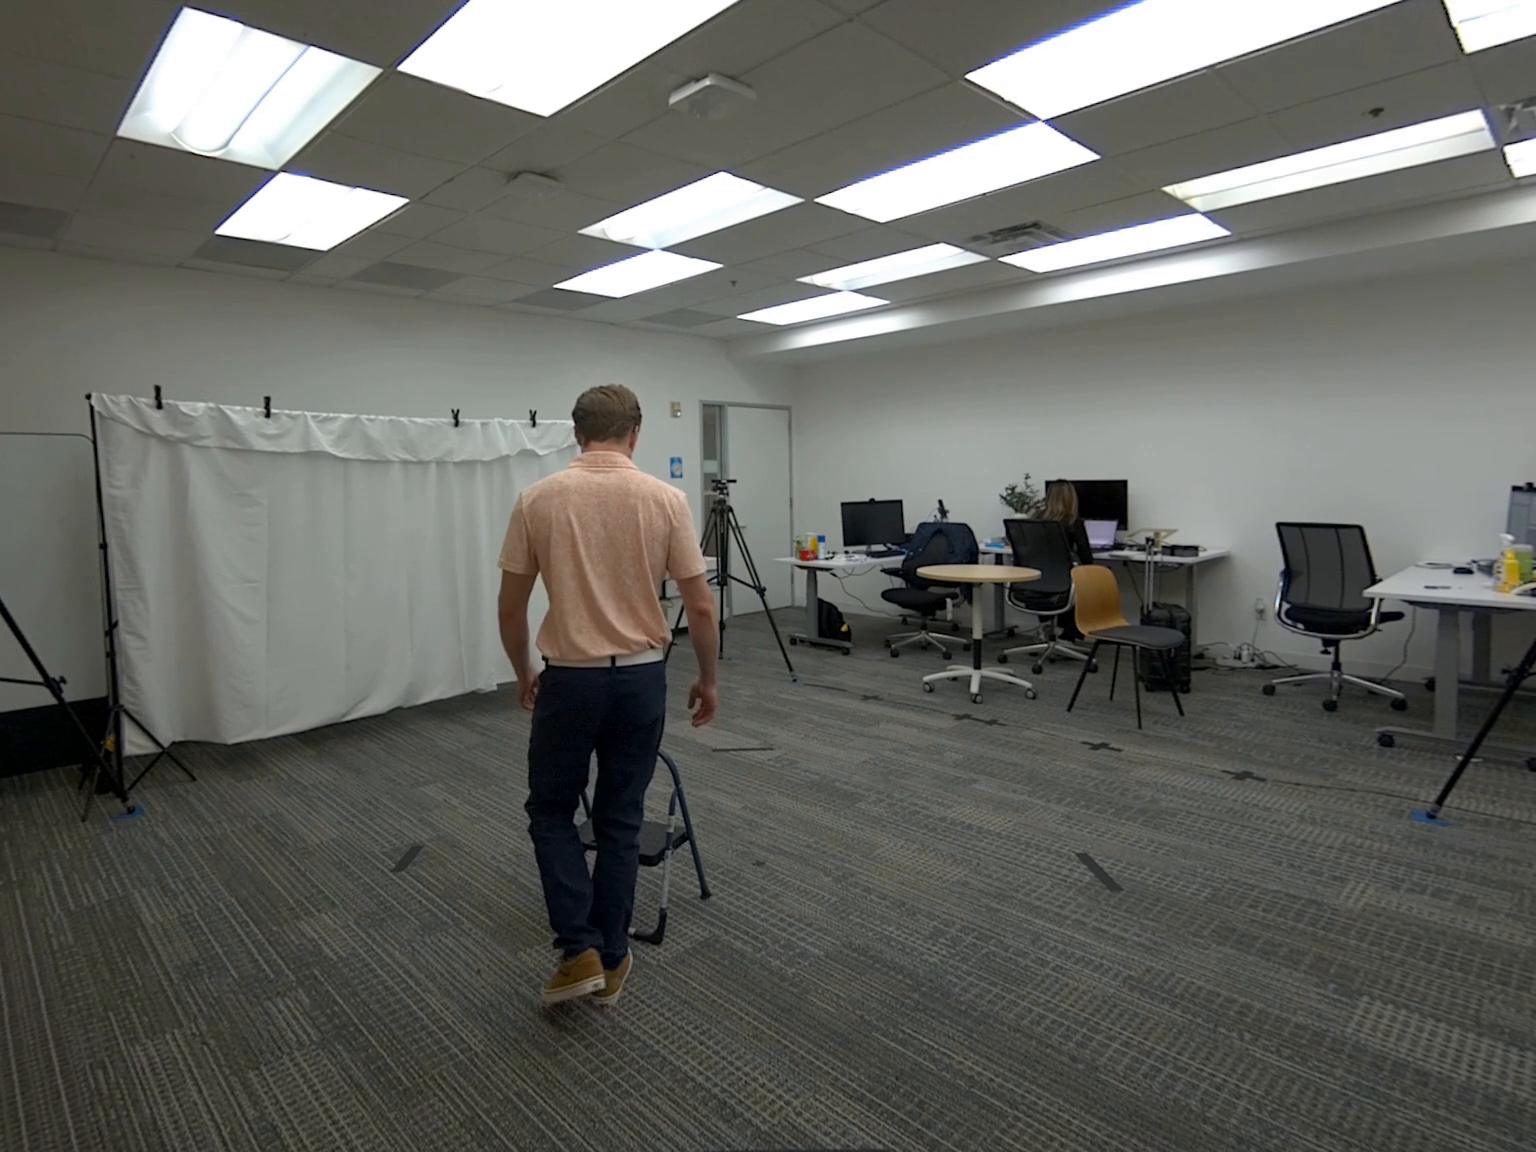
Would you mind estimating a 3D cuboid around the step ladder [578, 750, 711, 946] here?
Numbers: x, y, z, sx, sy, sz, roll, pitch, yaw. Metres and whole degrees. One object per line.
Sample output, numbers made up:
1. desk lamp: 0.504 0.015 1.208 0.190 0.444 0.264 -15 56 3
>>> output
1. step ladder: -0.454 0.790 2.797 0.440 0.604 0.343 0 5 24
